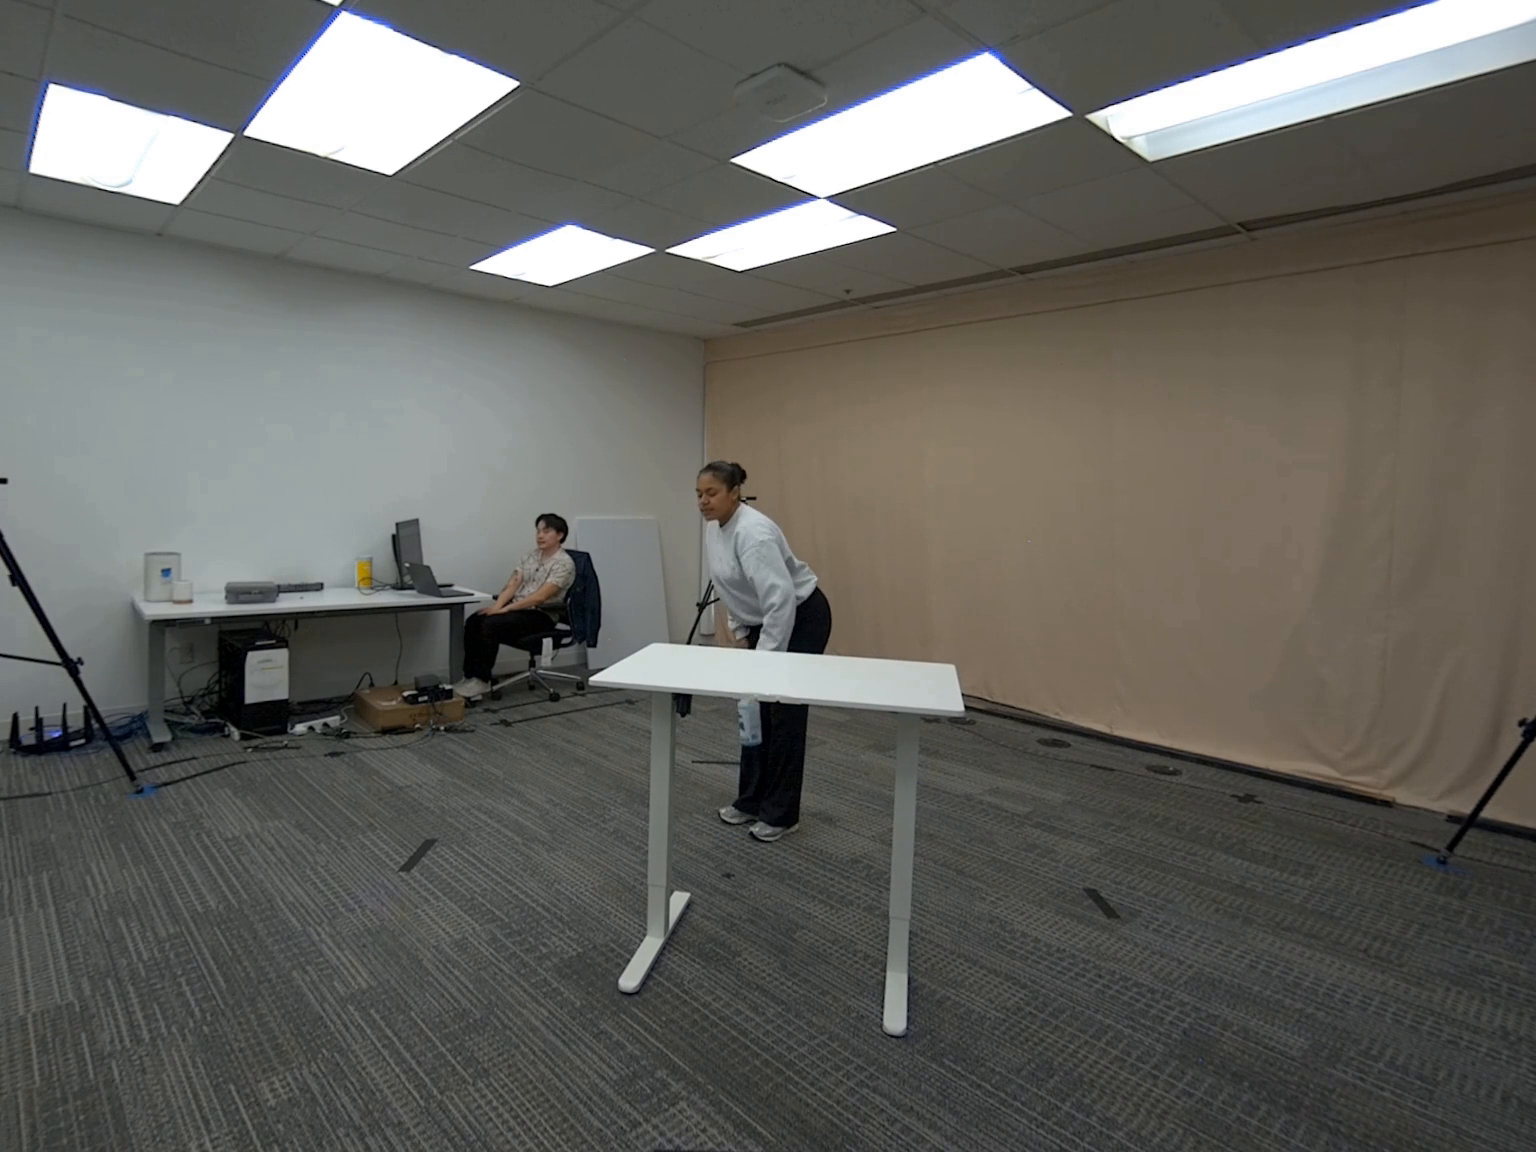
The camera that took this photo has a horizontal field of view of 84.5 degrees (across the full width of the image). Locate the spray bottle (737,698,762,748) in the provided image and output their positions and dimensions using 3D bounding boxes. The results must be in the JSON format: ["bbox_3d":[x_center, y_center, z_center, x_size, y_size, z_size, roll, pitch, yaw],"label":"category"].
[{"bbox_3d":[-0.084,0.517,3.305,0.092,0.297,0.085,-1,3,40],"label":"spray bottle"}]
